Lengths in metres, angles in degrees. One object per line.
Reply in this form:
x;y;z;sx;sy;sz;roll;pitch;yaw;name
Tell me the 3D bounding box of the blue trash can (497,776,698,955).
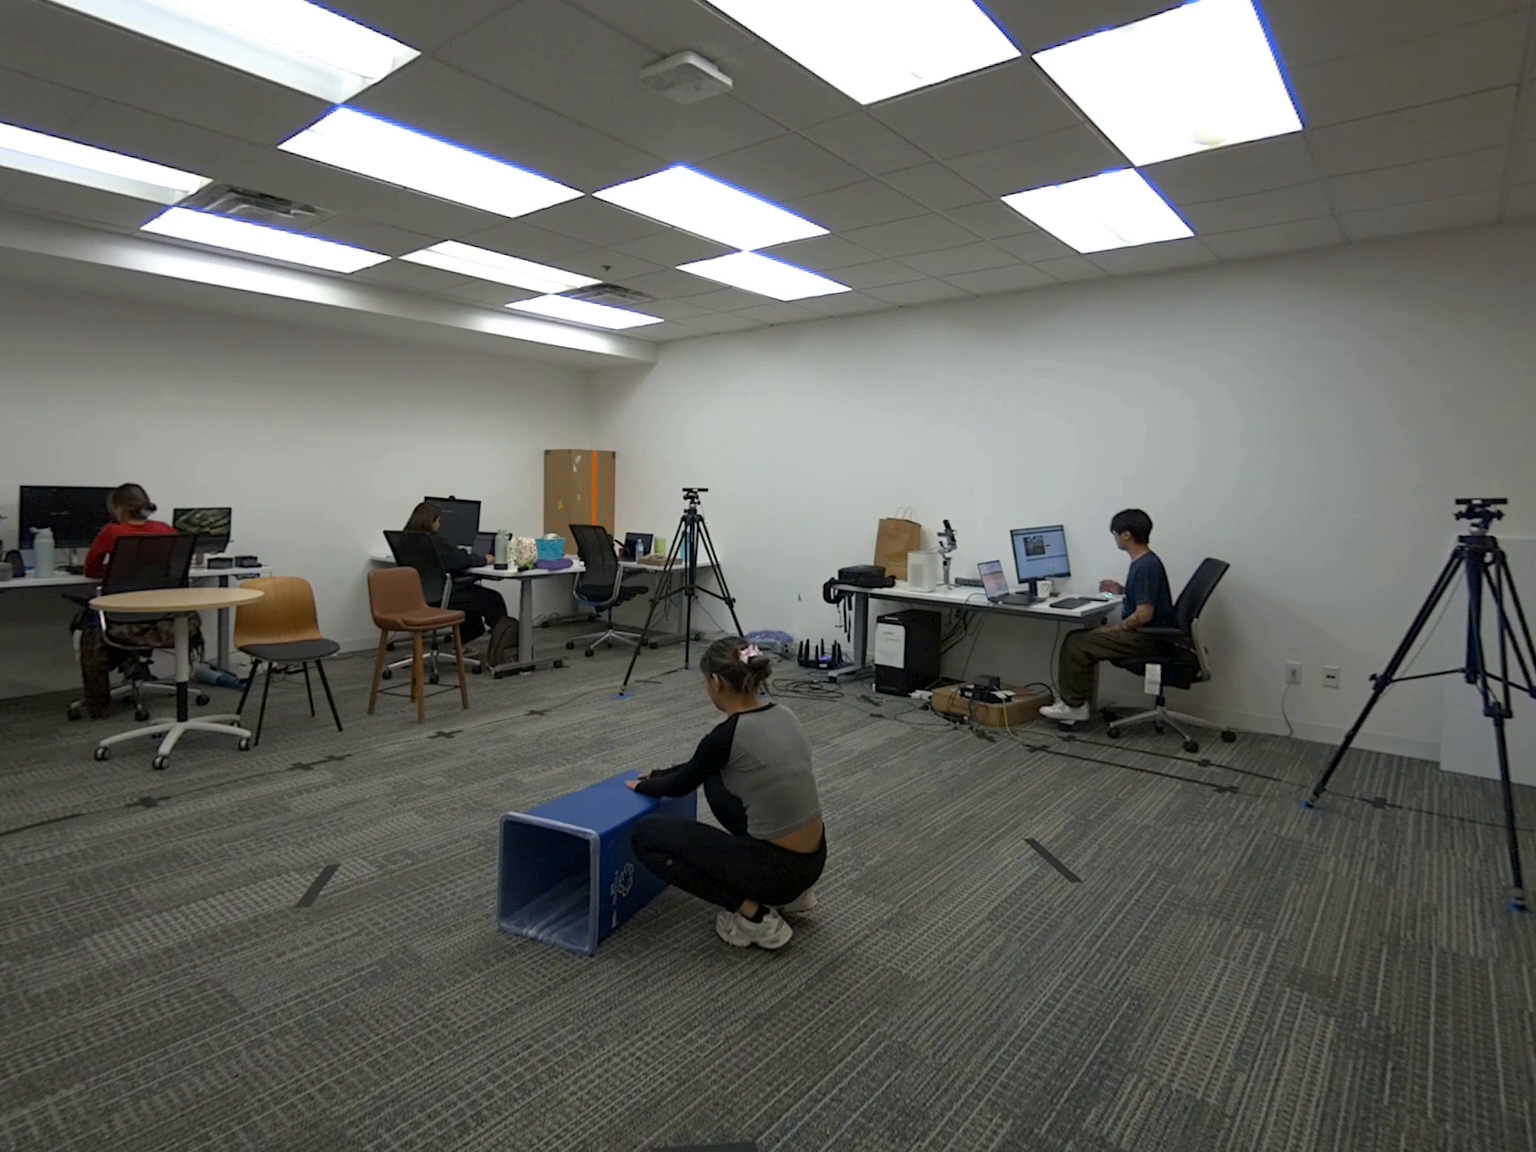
-0.549;0.916;2.899;0.384;0.378;0.696;2;2;25;blue trash can
